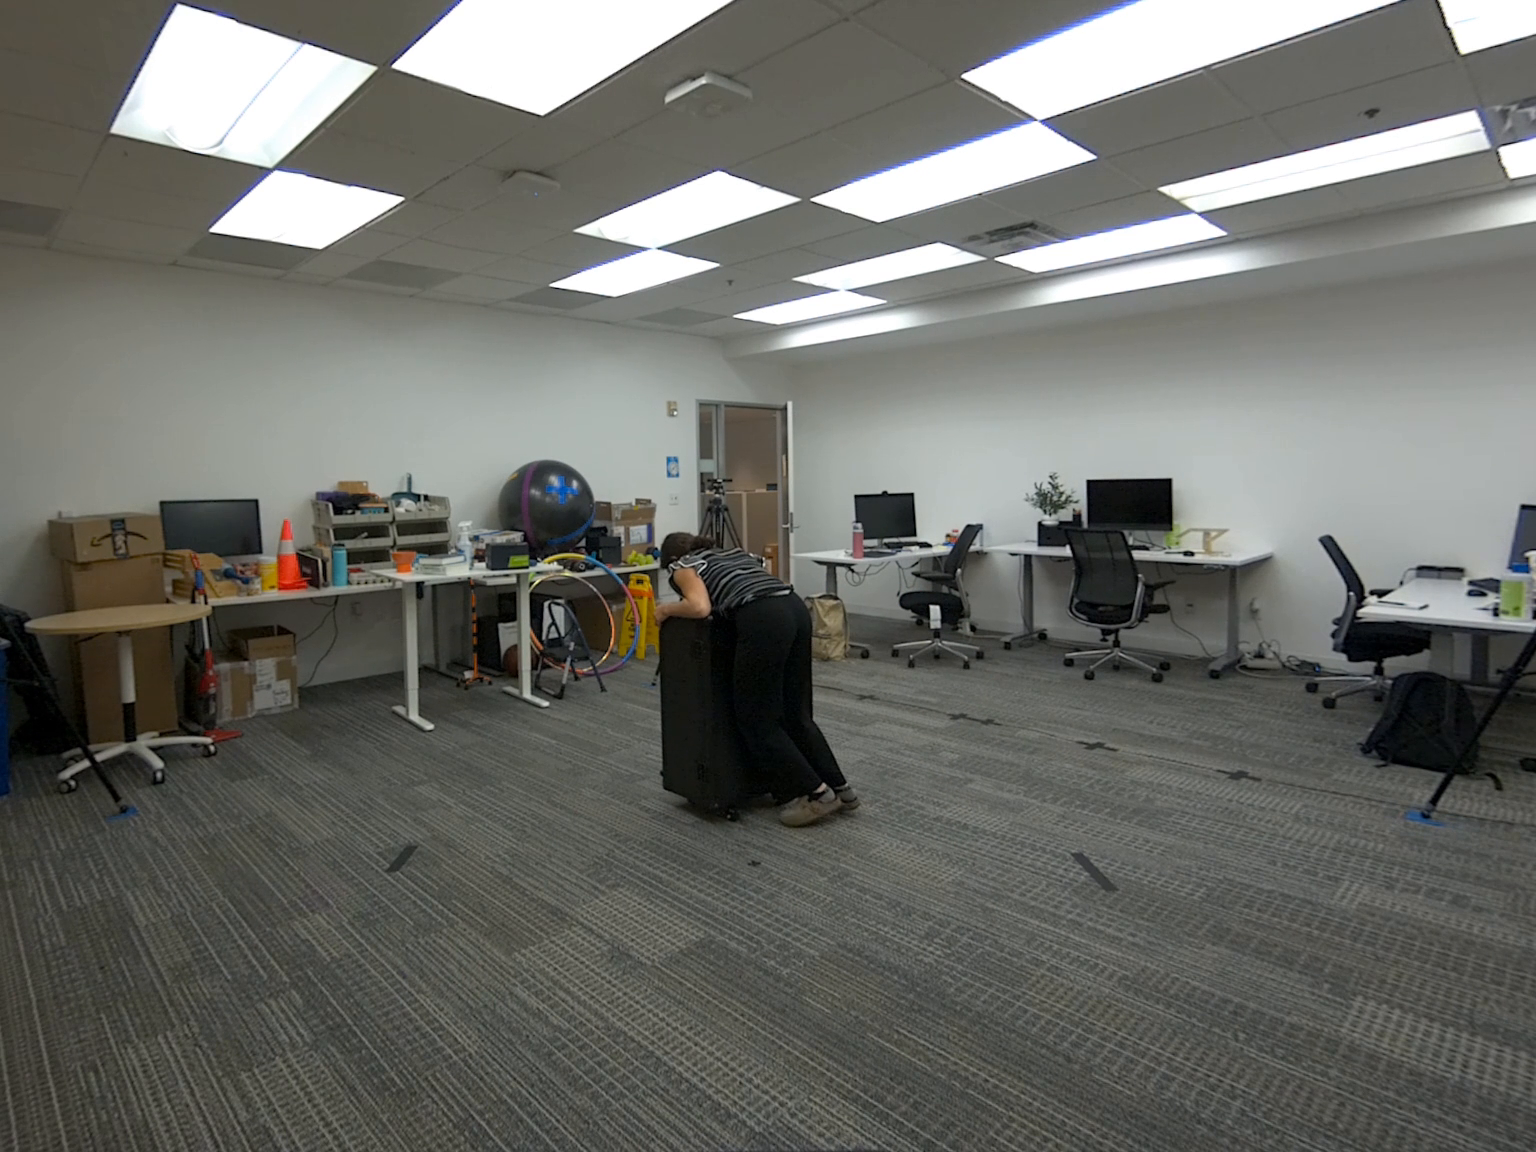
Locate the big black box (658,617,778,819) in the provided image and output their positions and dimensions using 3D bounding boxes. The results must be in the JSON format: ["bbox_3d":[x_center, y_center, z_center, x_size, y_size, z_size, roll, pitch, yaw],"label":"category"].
[{"bbox_3d":[-0.181,0.569,3.695,0.507,0.859,0.408,-5,4,-42],"label":"big black box"}]
